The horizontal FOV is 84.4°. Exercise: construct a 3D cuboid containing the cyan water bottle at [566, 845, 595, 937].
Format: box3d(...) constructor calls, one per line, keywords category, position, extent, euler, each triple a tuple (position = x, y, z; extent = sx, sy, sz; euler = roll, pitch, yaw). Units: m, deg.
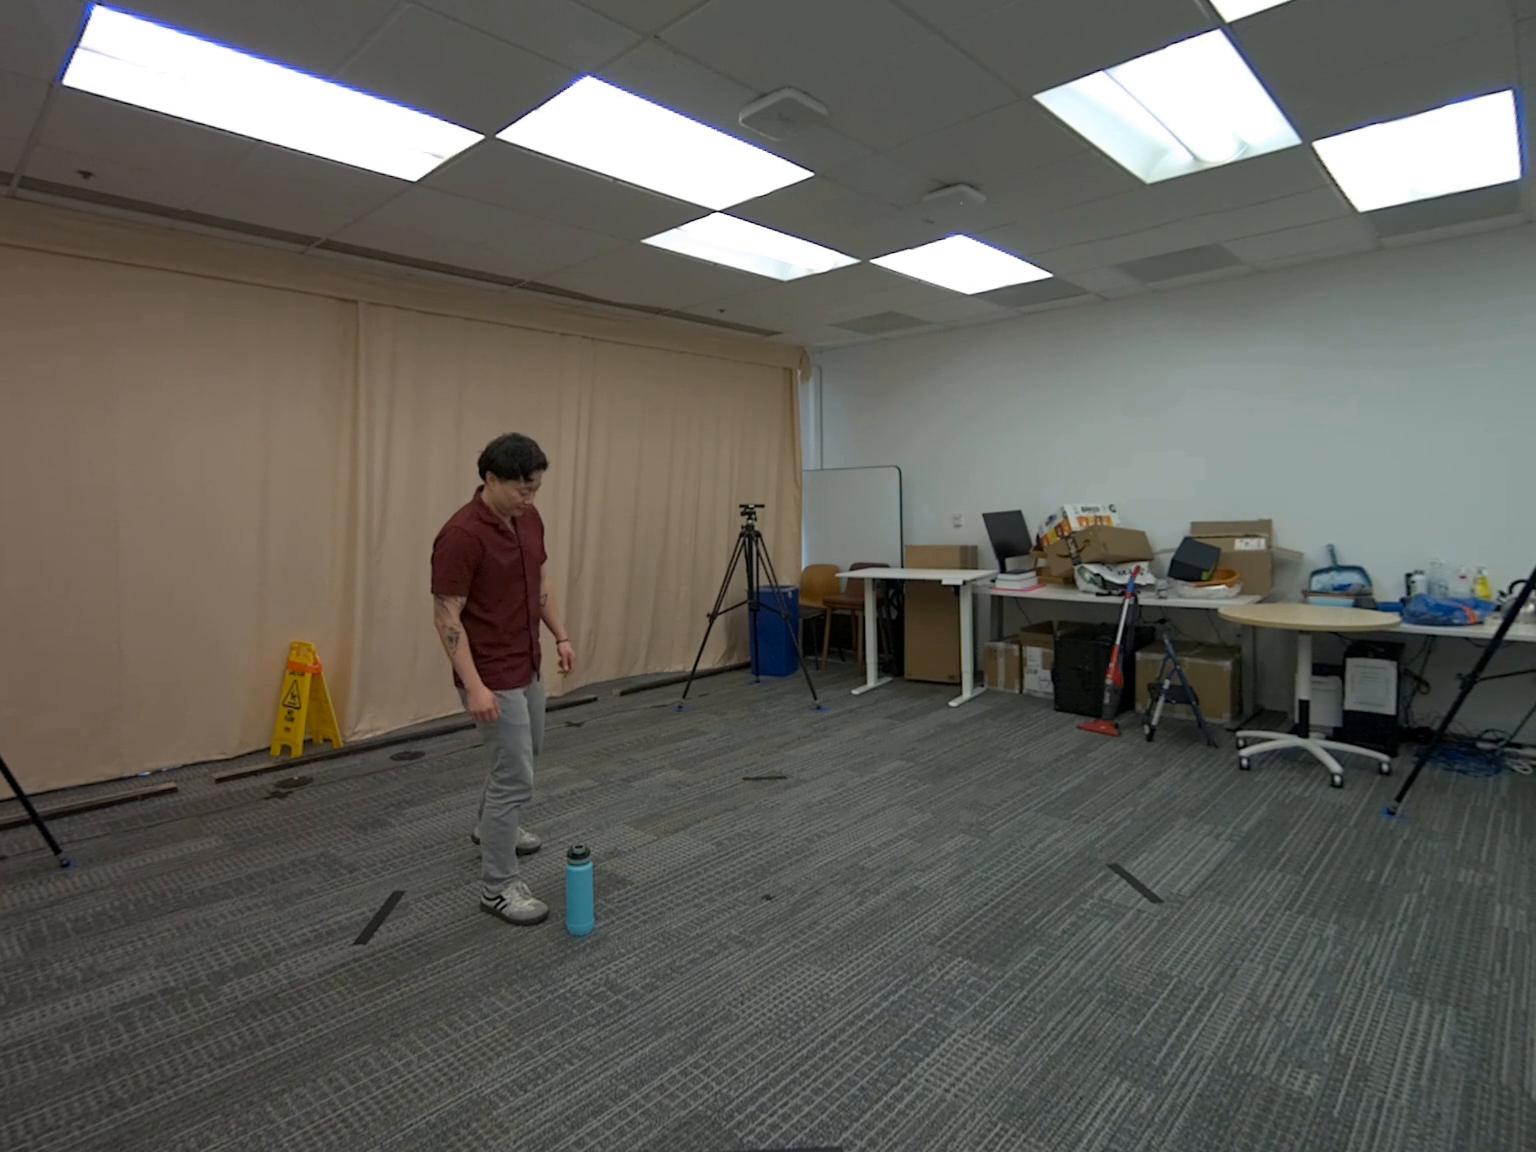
box3d(category="cyan water bottle", position=(-0.628, 1.034, 2.779), extent=(0.092, 0.283, 0.092), euler=(-1, 2, -2))
